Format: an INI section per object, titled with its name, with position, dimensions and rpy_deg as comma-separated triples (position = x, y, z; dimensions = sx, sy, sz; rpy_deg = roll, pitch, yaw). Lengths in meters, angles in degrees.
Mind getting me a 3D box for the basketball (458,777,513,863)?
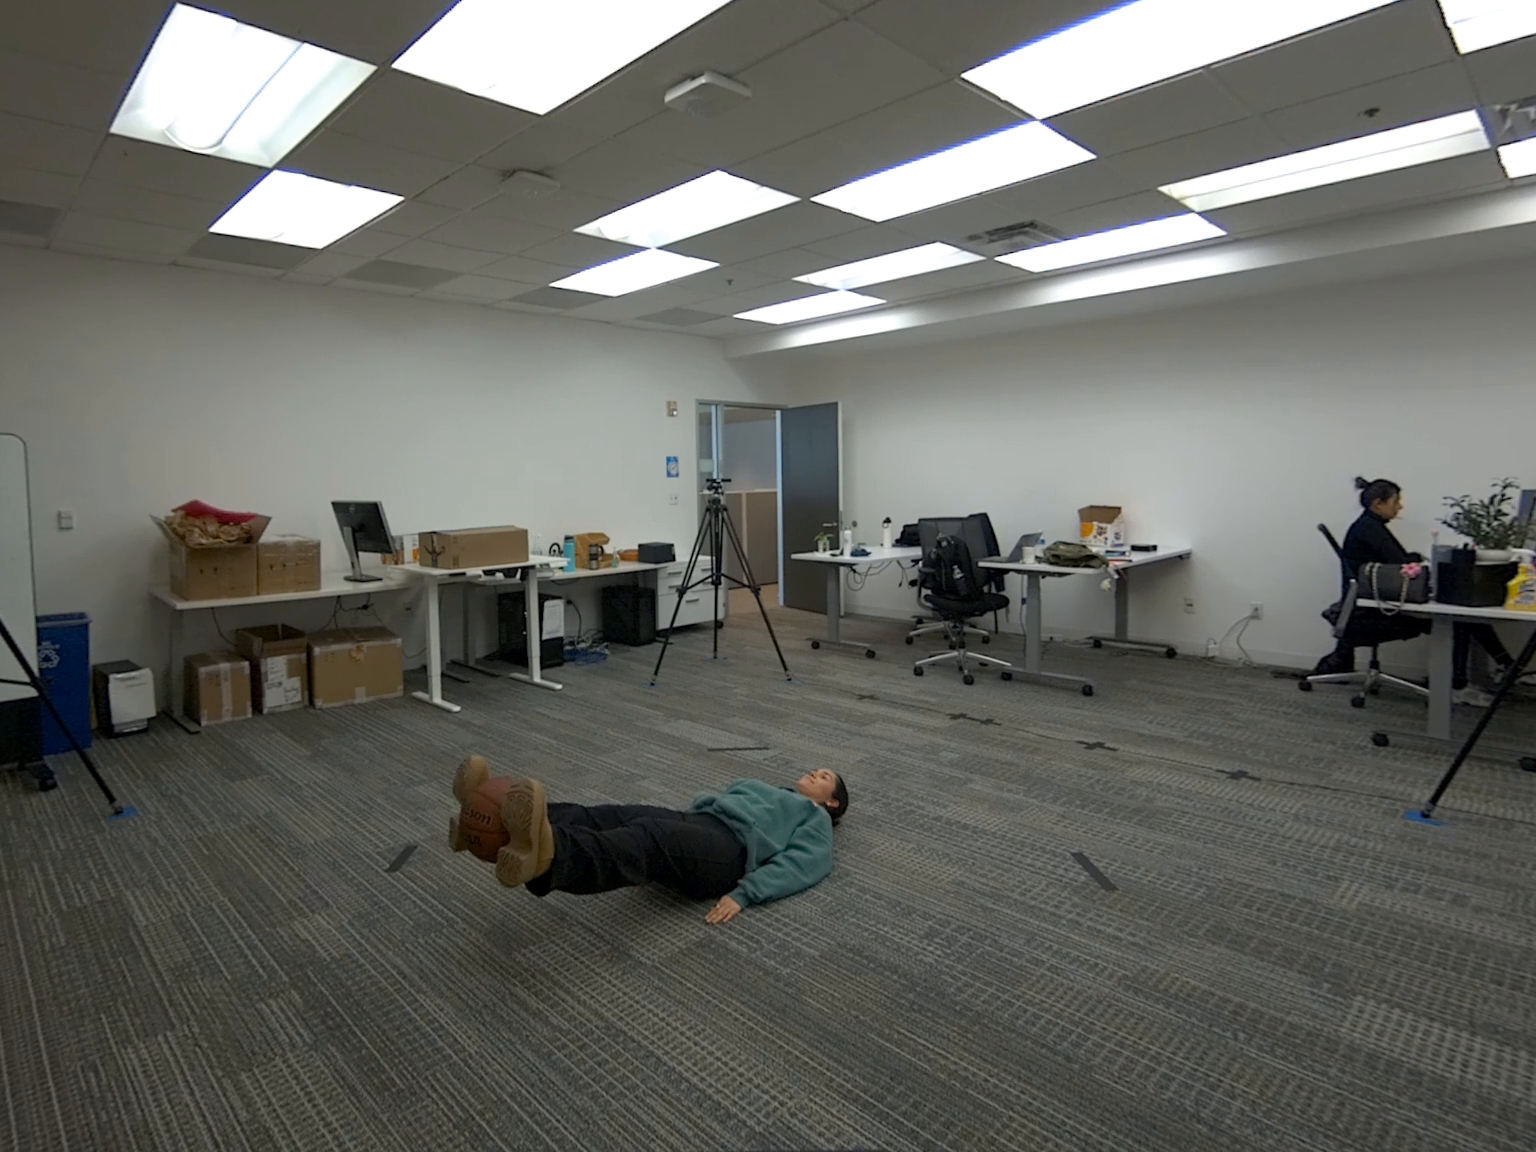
[basketball]
position = -0.754, 0.692, 2.429
dimensions = 0.236, 0.235, 0.237
rpy_deg = -1, 4, -2
